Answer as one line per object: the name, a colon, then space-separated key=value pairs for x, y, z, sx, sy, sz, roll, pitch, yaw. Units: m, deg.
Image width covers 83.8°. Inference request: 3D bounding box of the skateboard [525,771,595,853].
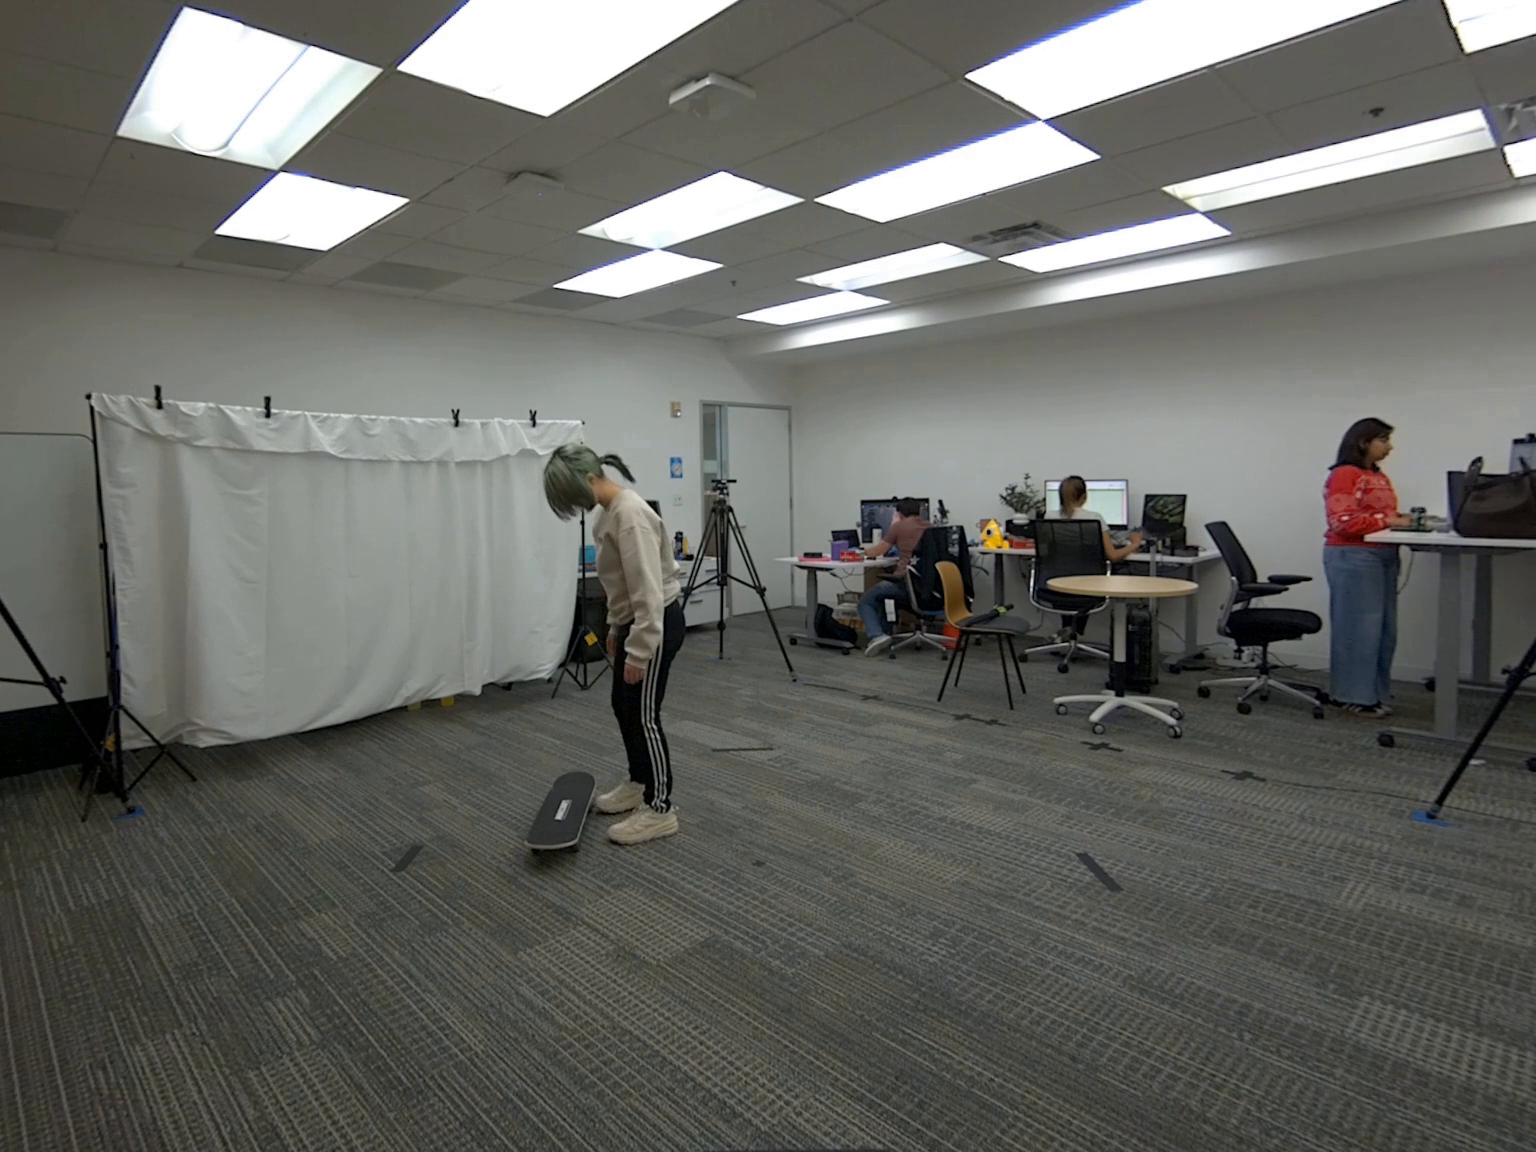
skateboard: x=-0.817 y=0.968 z=3.427 sx=0.193 sy=0.110 sz=0.791 roll=-3 pitch=6 yaw=-4
